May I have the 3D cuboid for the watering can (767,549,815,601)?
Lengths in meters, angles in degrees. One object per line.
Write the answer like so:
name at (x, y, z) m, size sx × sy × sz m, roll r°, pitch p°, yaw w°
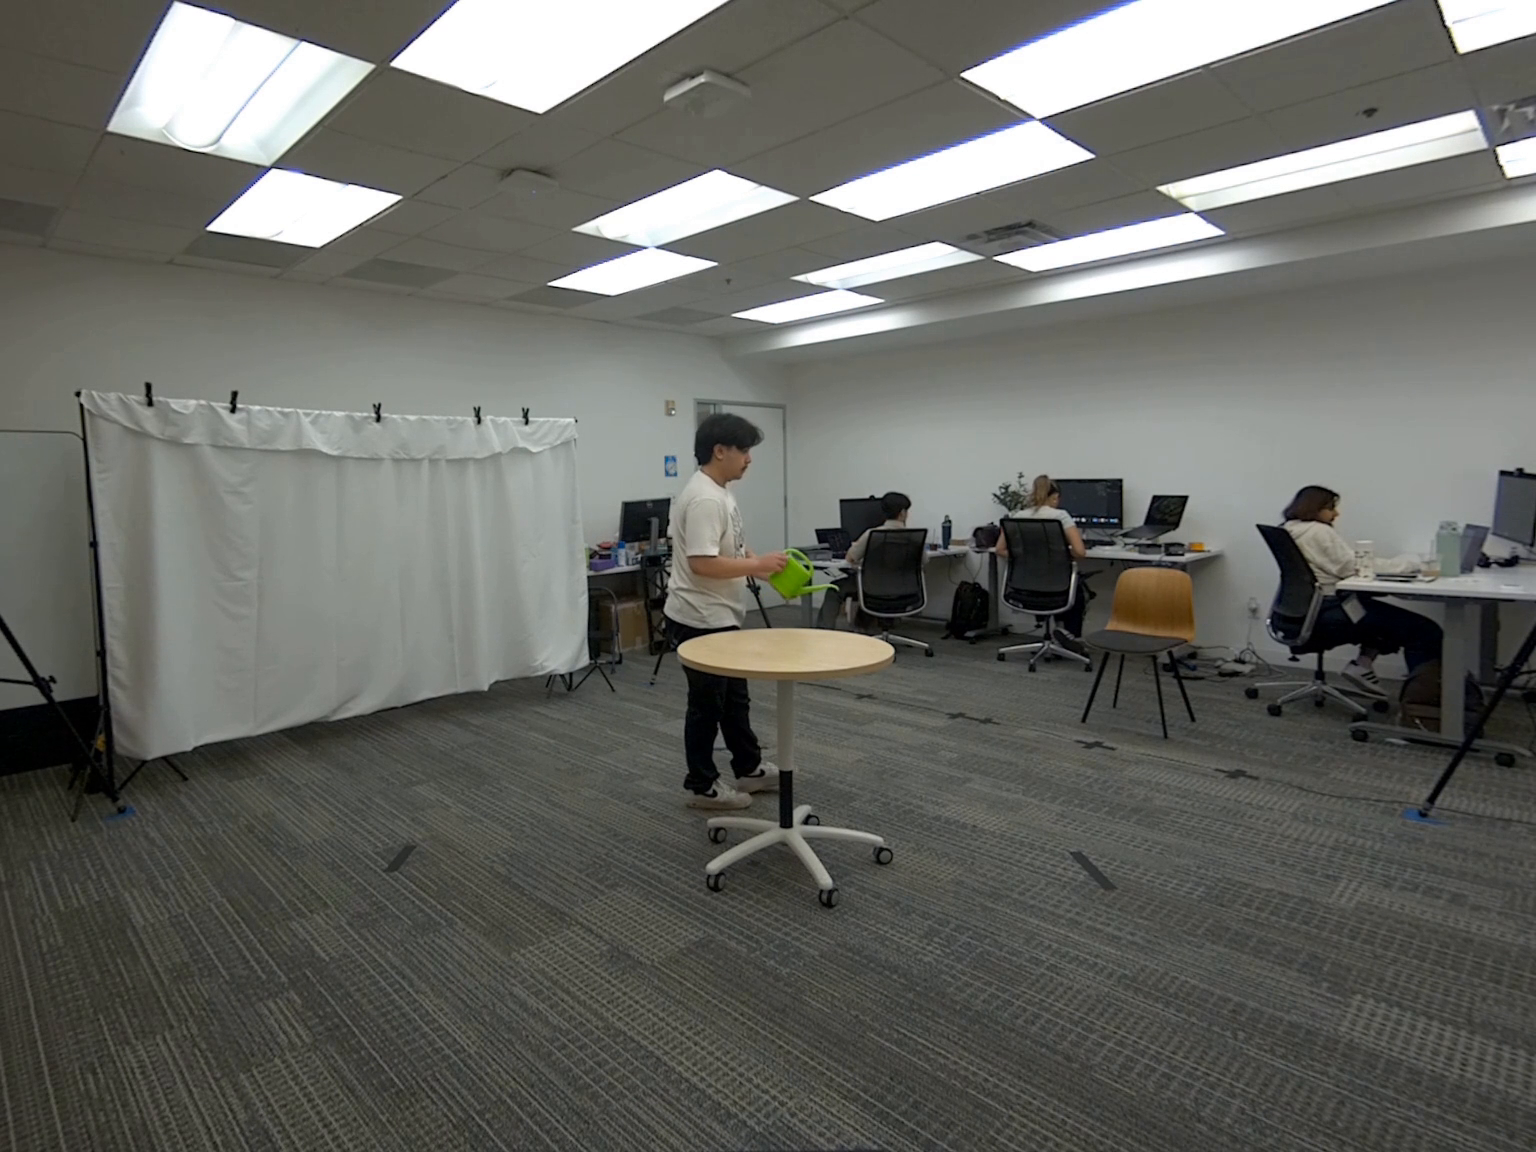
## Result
watering can at (0.133, 0.024, 3.492) m, size 0.281 × 0.177 × 0.097 m, roll 44°, pitch 7°, yaw 7°
